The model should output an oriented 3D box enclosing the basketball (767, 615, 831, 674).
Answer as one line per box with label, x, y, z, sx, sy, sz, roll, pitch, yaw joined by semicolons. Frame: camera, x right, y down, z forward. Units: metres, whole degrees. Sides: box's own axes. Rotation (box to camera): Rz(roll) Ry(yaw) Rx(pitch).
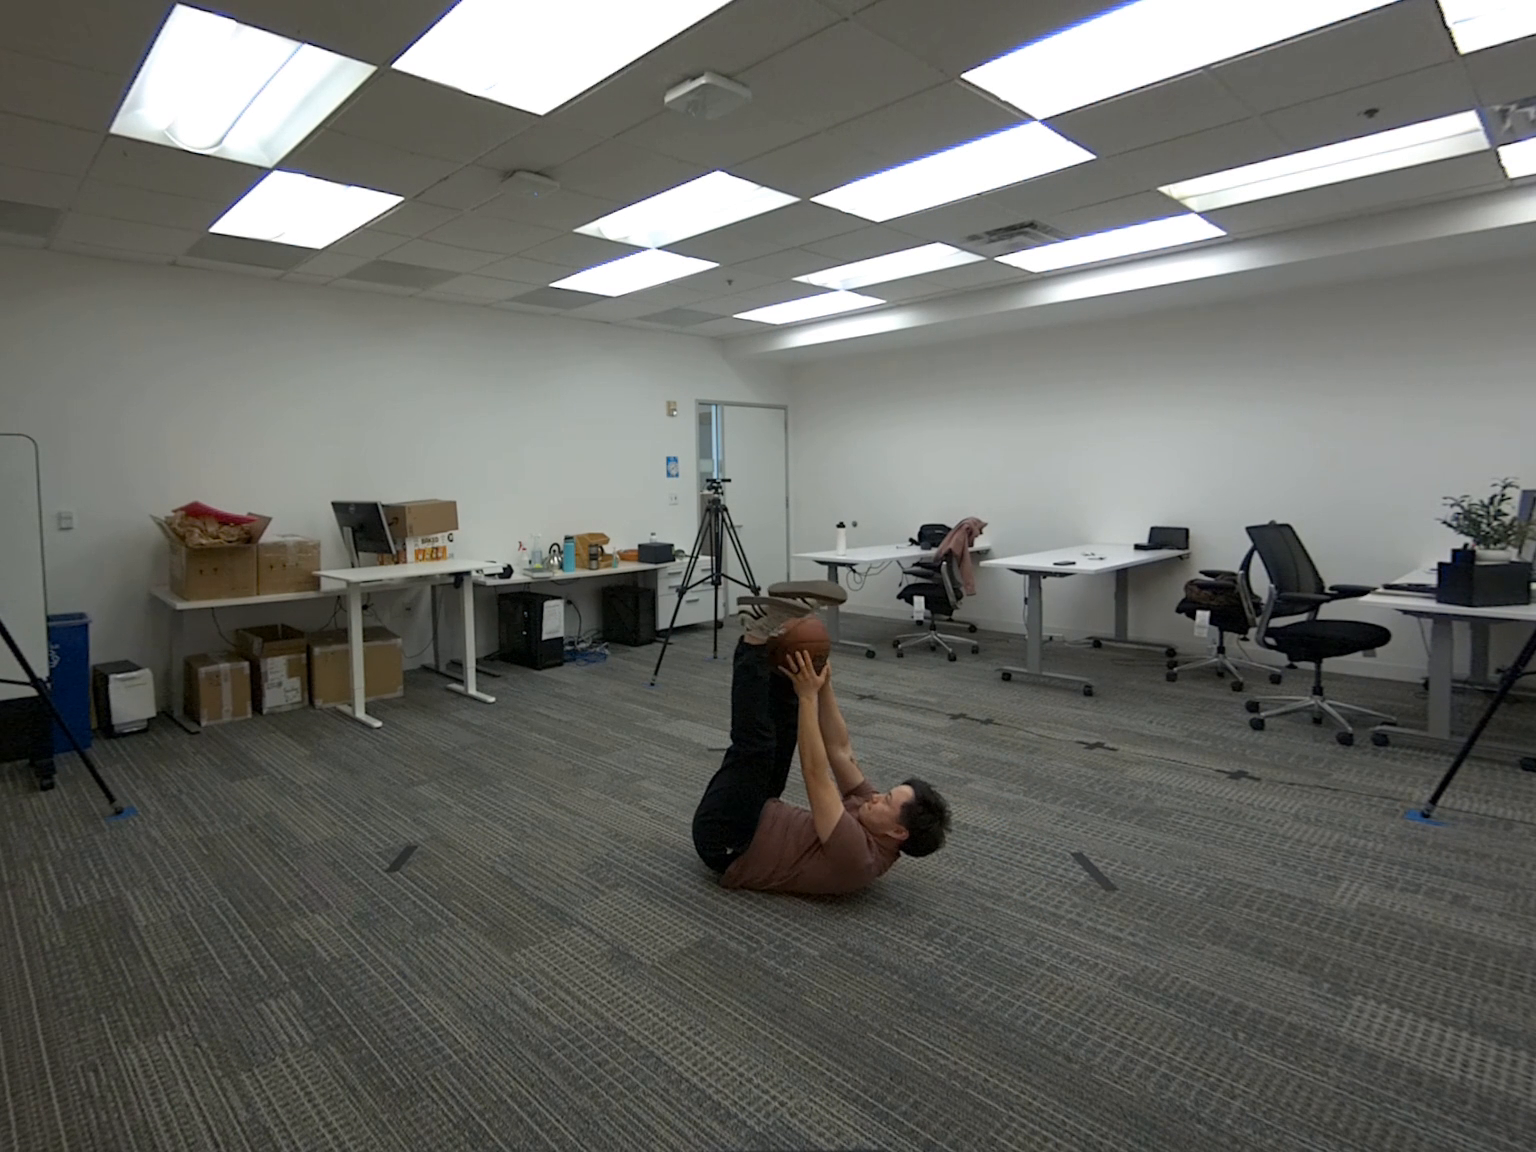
basketball;0.105;0.235;2.914;0.236;0.236;0.236;0;1;-2
